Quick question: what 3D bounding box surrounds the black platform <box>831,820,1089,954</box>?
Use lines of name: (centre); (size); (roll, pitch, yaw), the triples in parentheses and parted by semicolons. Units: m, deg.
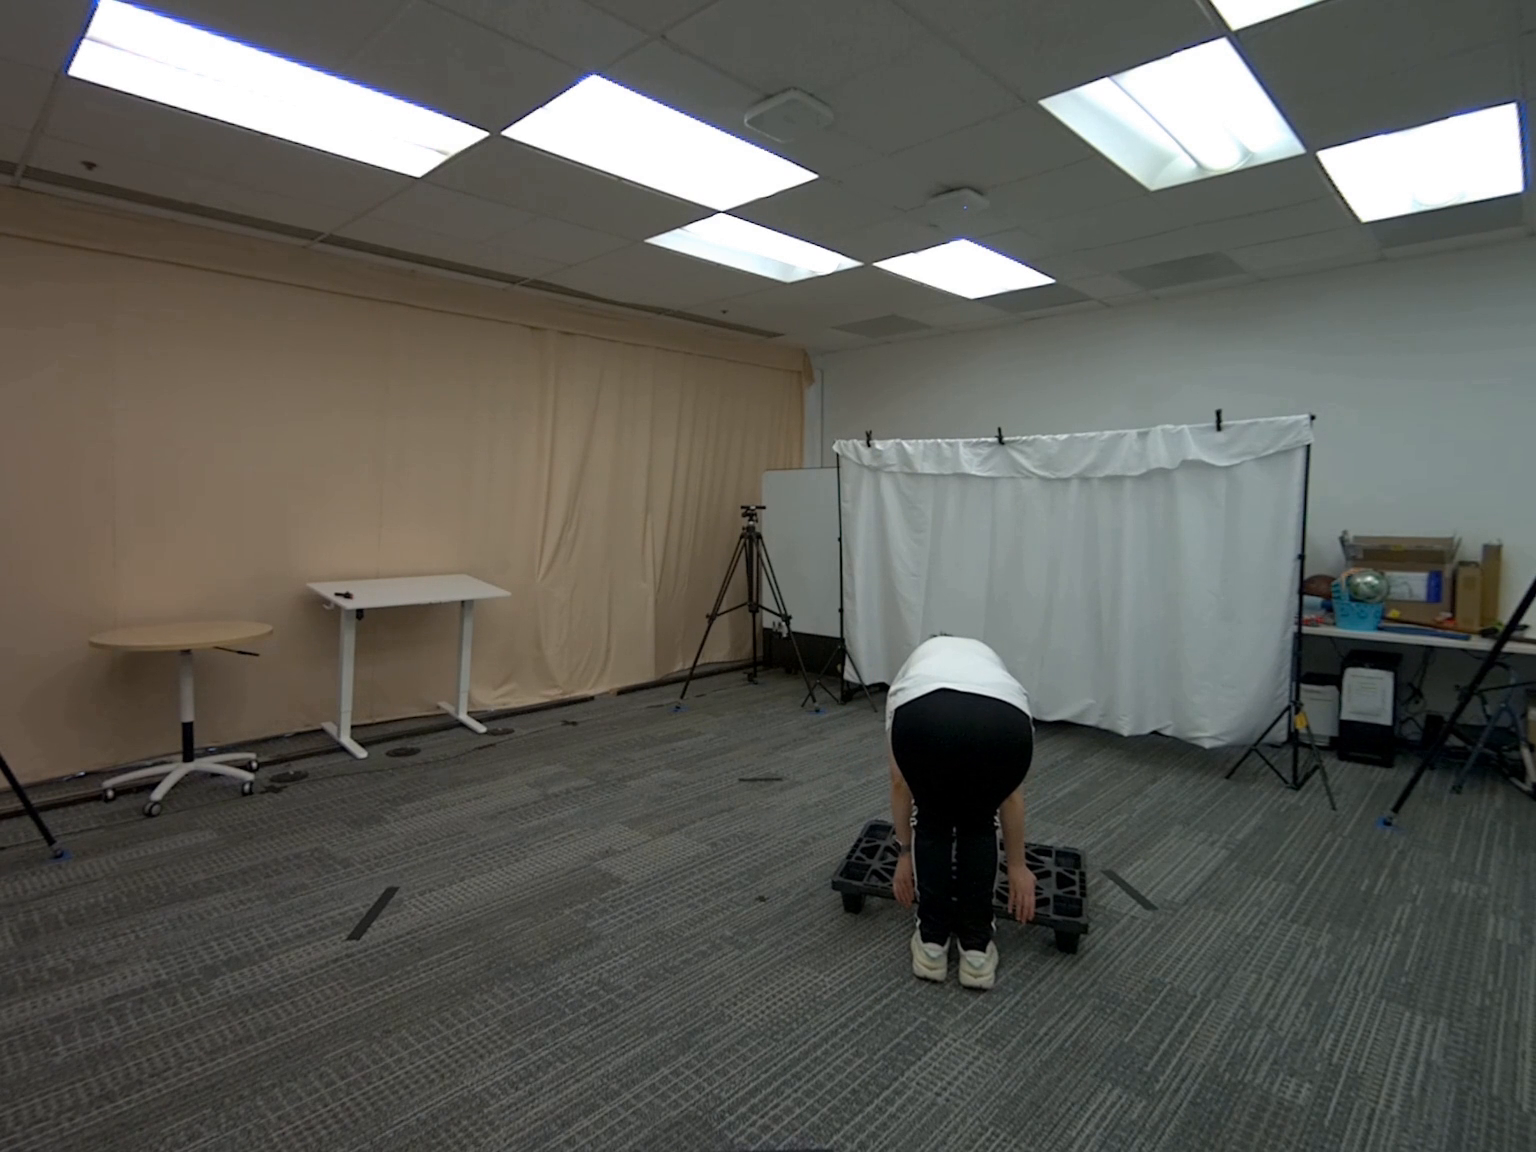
black platform: (0.687, 1.075, 2.957); (0.824, 0.143, 0.593); (2, 4, 21)
